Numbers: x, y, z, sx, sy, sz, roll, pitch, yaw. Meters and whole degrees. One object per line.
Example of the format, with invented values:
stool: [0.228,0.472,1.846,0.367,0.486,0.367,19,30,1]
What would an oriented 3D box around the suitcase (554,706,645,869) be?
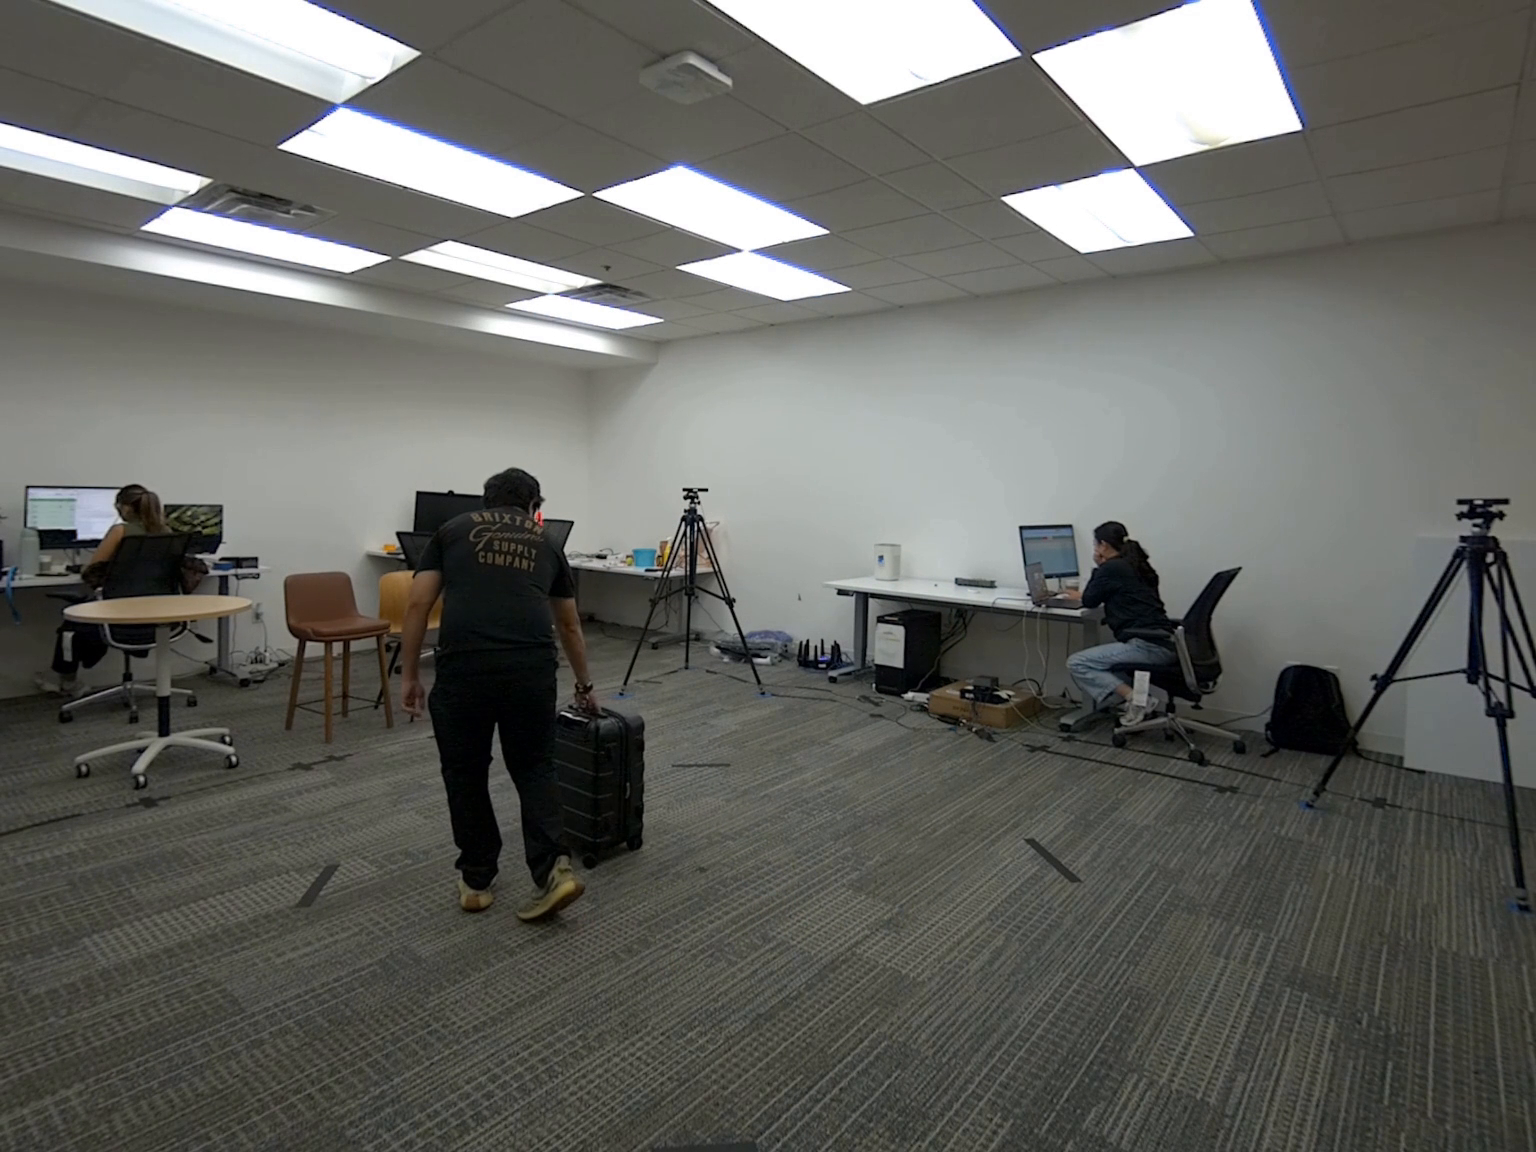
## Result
suitcase: [-0.681,0.775,3.272,0.388,0.548,0.240,6,4,38]
